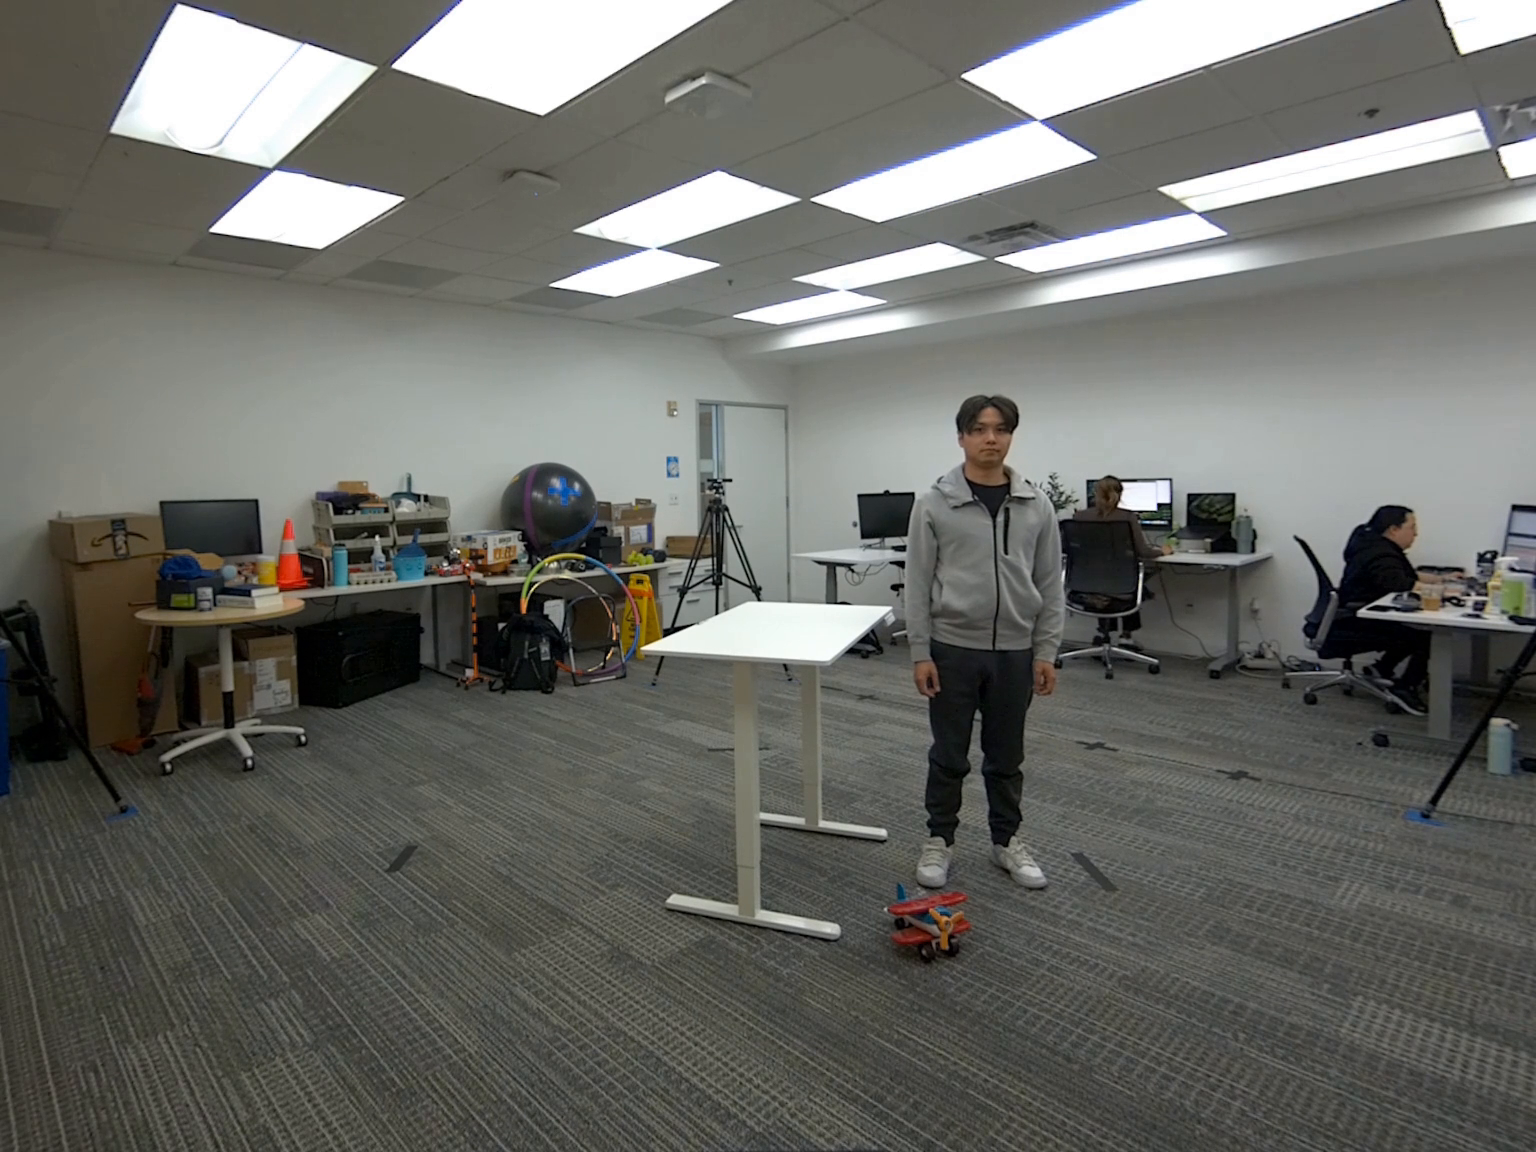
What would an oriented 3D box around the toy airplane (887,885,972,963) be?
[{"bbox_3d":[0.445,1.024,2.542,0.267,0.156,0.244,5,7,39],"label":"toy airplane"}]
